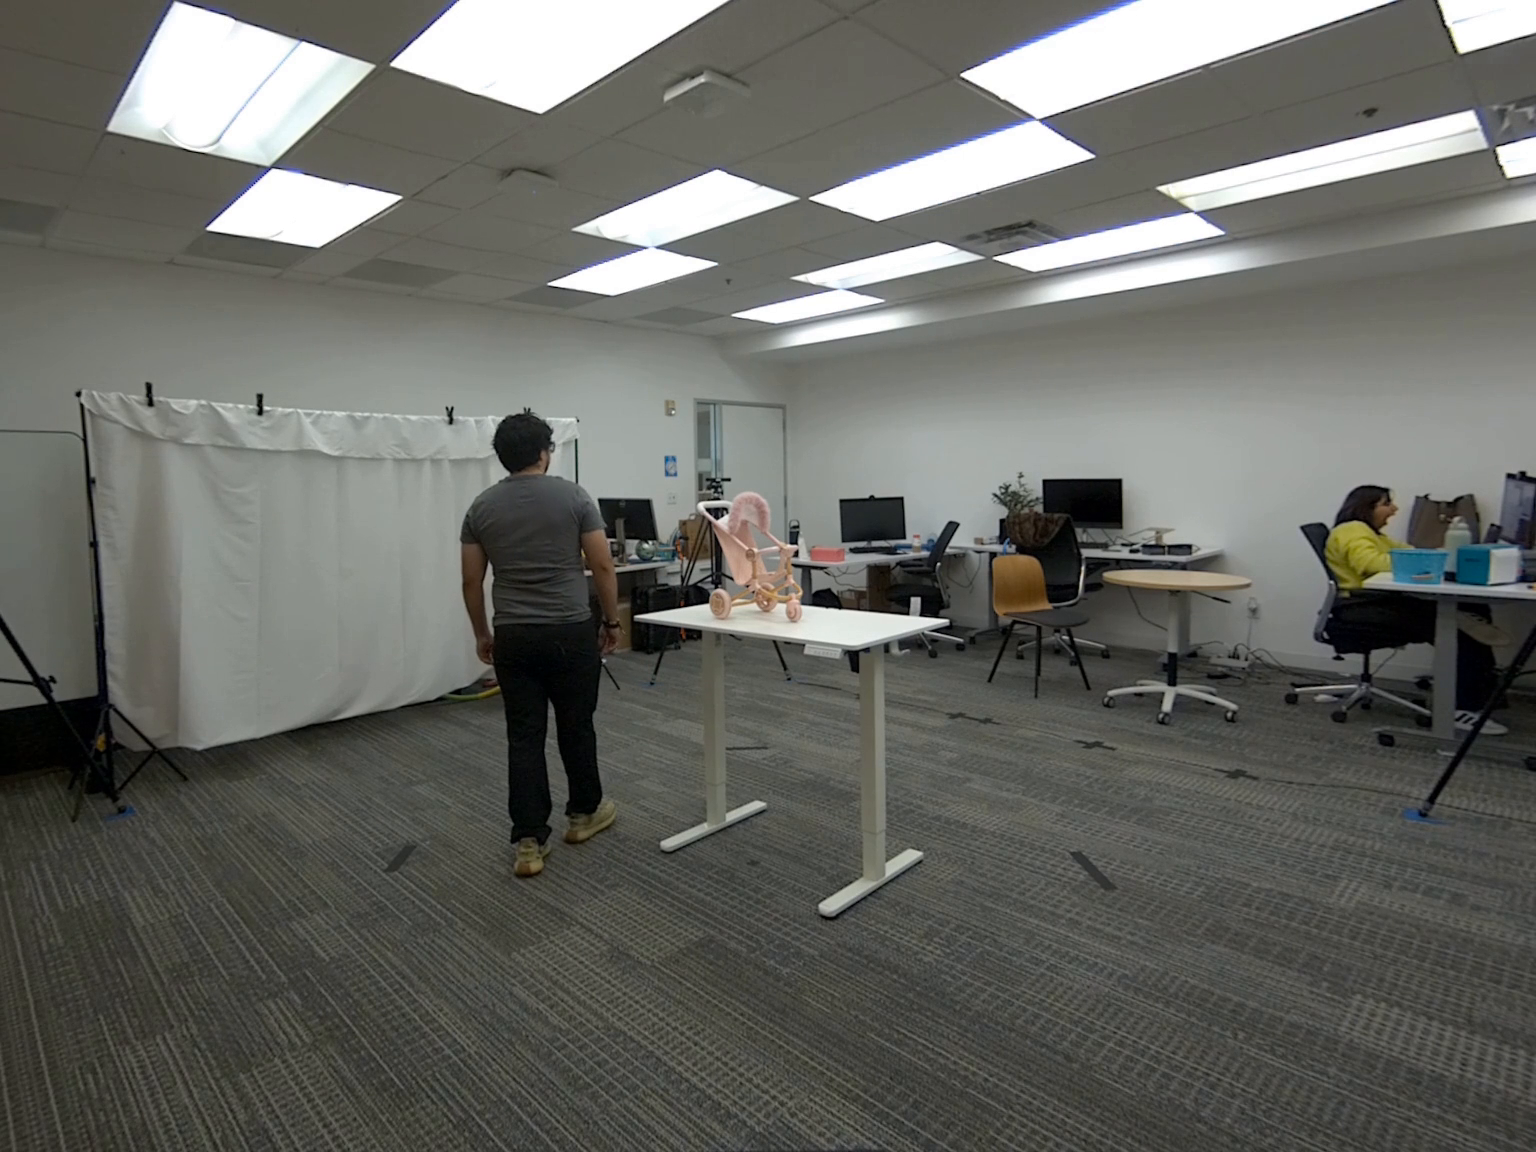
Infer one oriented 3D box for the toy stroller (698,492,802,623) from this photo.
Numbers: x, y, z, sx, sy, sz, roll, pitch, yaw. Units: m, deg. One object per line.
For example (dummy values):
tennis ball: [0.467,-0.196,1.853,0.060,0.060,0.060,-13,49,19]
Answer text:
toy stroller: [-0.050,-0.070,3.157,0.274,0.541,0.347,-4,-12,-42]
